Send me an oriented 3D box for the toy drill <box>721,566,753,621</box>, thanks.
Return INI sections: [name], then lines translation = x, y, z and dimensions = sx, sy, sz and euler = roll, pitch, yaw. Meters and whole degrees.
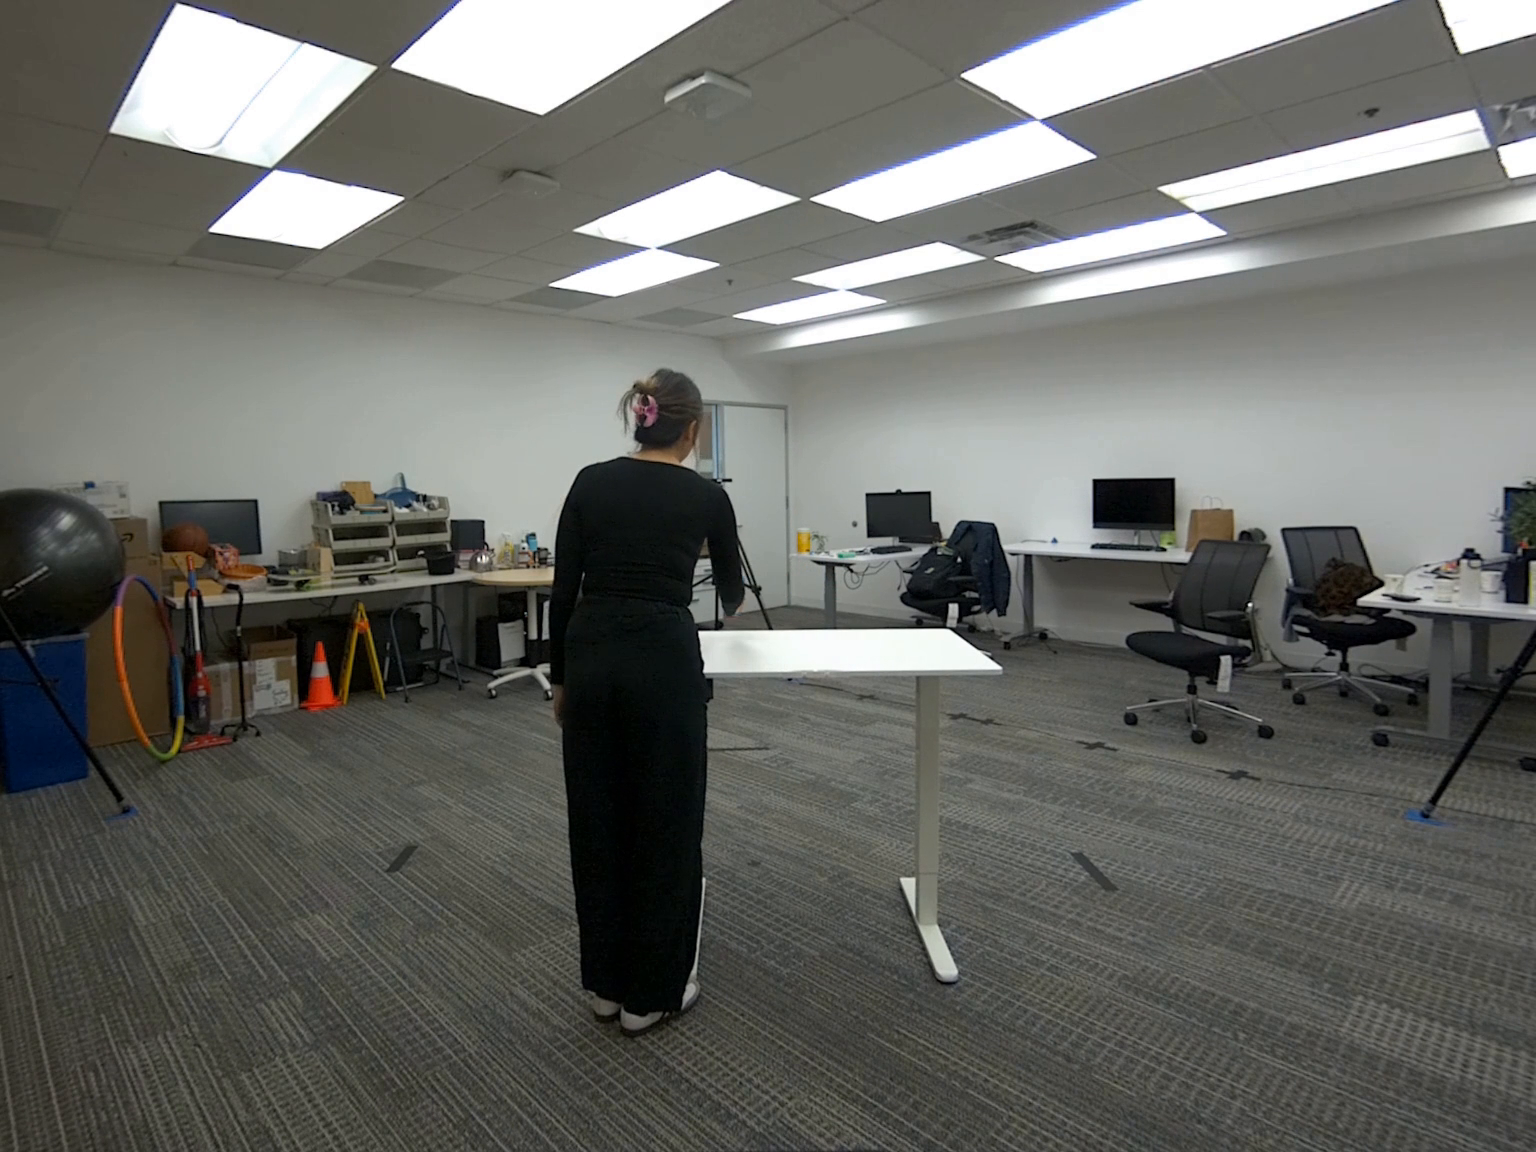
[toy drill]
translation = -0.101, 0.052, 2.801
dimensions = 0.062, 0.145, 0.169
euler = 5, 8, 8
